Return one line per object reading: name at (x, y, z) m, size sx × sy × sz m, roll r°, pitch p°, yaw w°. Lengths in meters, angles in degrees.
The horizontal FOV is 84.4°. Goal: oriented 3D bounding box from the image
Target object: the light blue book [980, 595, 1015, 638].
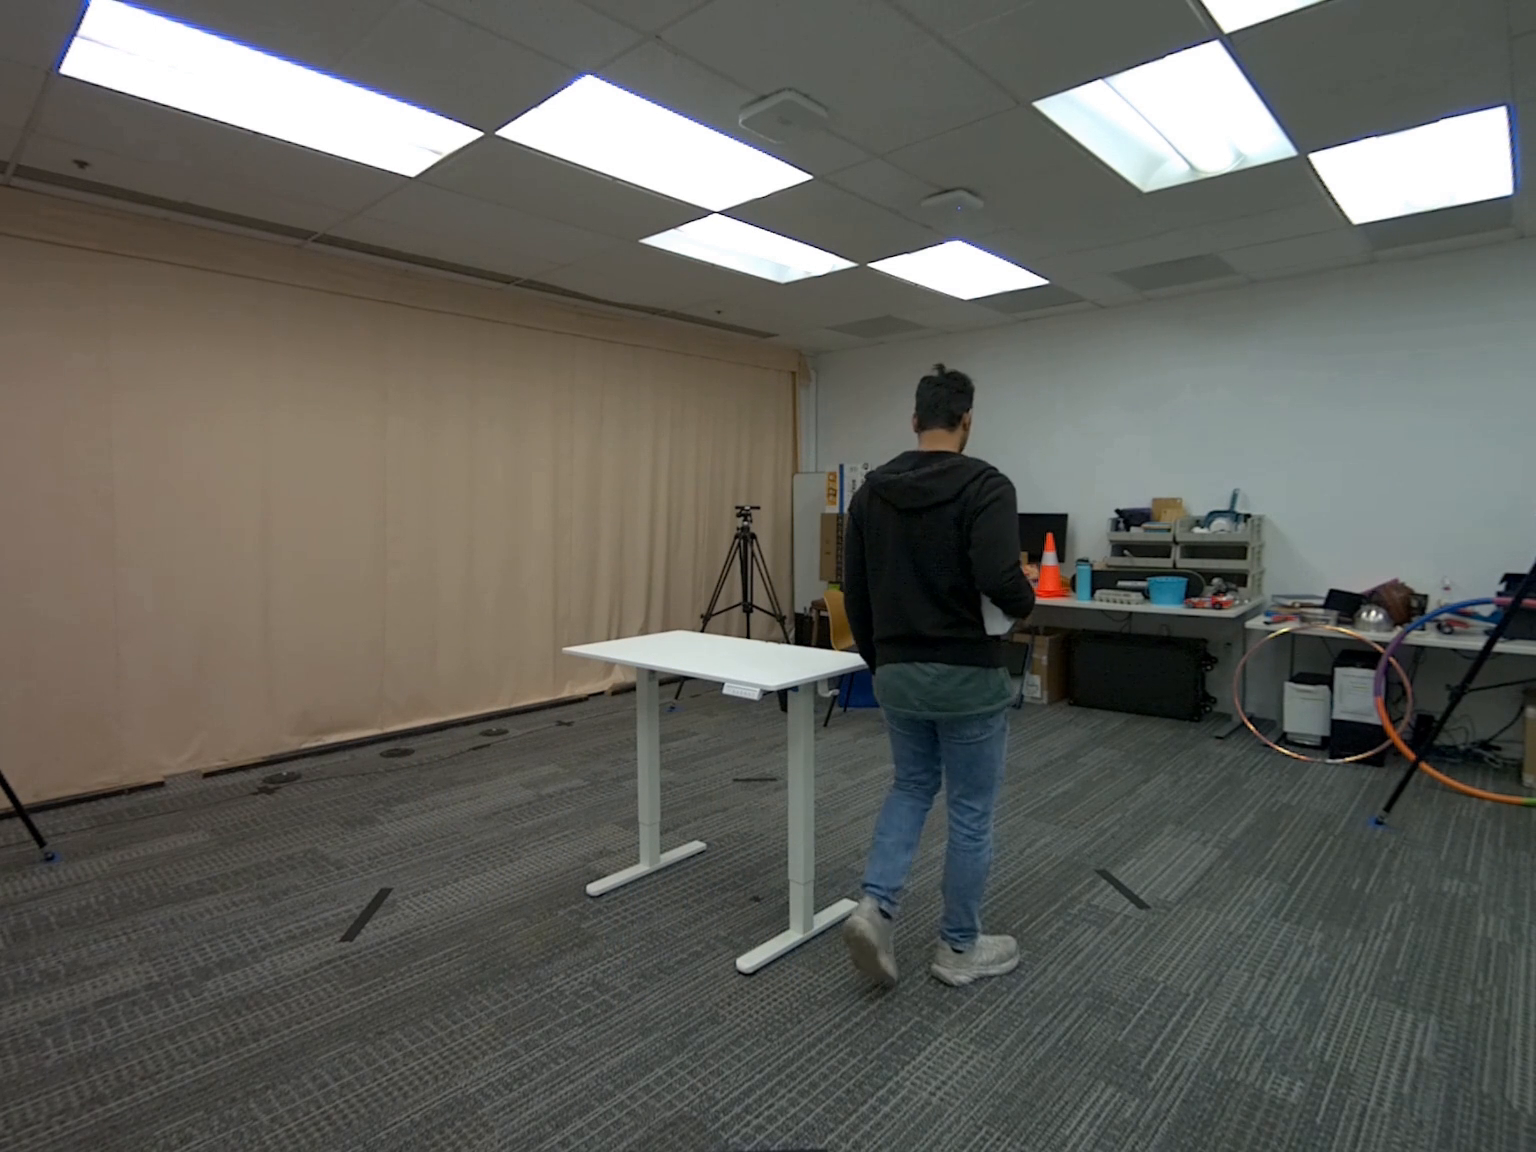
light blue book at (0.662, 0.042, 2.409) m, size 0.061 × 0.190 × 0.255 m, roll -7°, pitch 10°, yaw 35°
